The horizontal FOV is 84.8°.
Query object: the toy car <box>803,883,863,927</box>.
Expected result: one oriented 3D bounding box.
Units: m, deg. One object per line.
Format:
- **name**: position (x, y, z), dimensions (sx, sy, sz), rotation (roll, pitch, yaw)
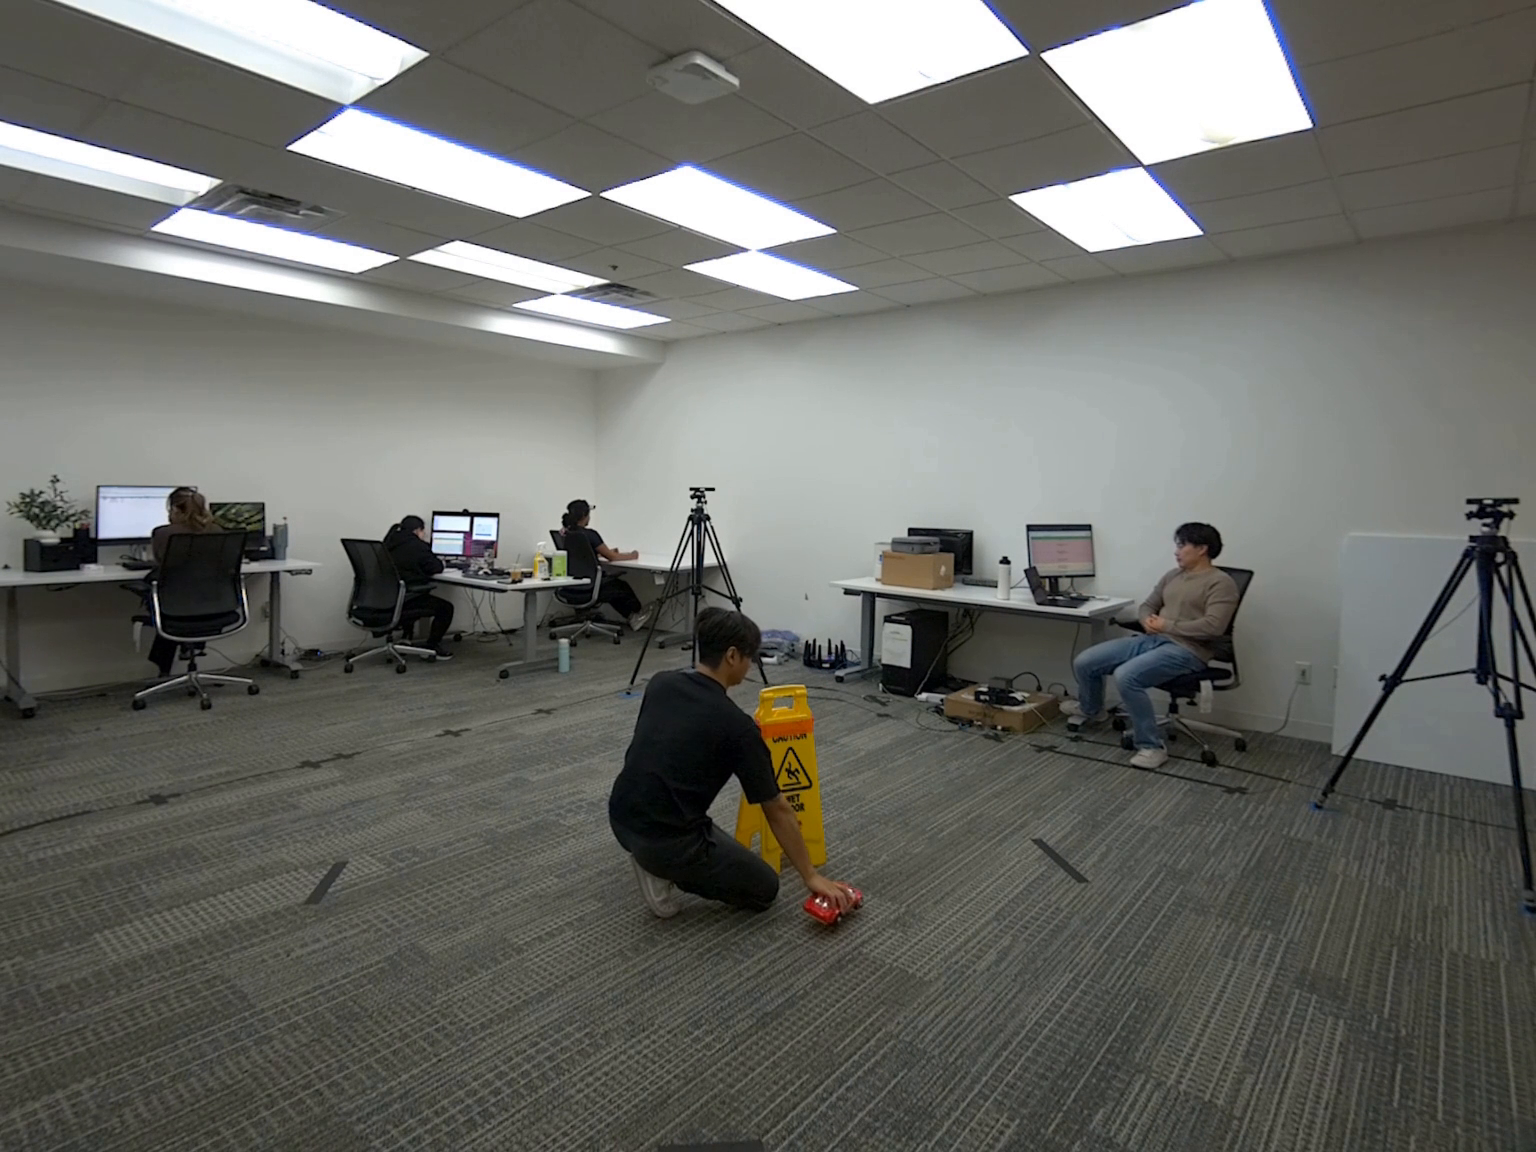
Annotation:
- **toy car**: position (0.197, 1.059, 2.743), dimensions (0.135, 0.083, 0.245), rotation (16, 1, 34)
